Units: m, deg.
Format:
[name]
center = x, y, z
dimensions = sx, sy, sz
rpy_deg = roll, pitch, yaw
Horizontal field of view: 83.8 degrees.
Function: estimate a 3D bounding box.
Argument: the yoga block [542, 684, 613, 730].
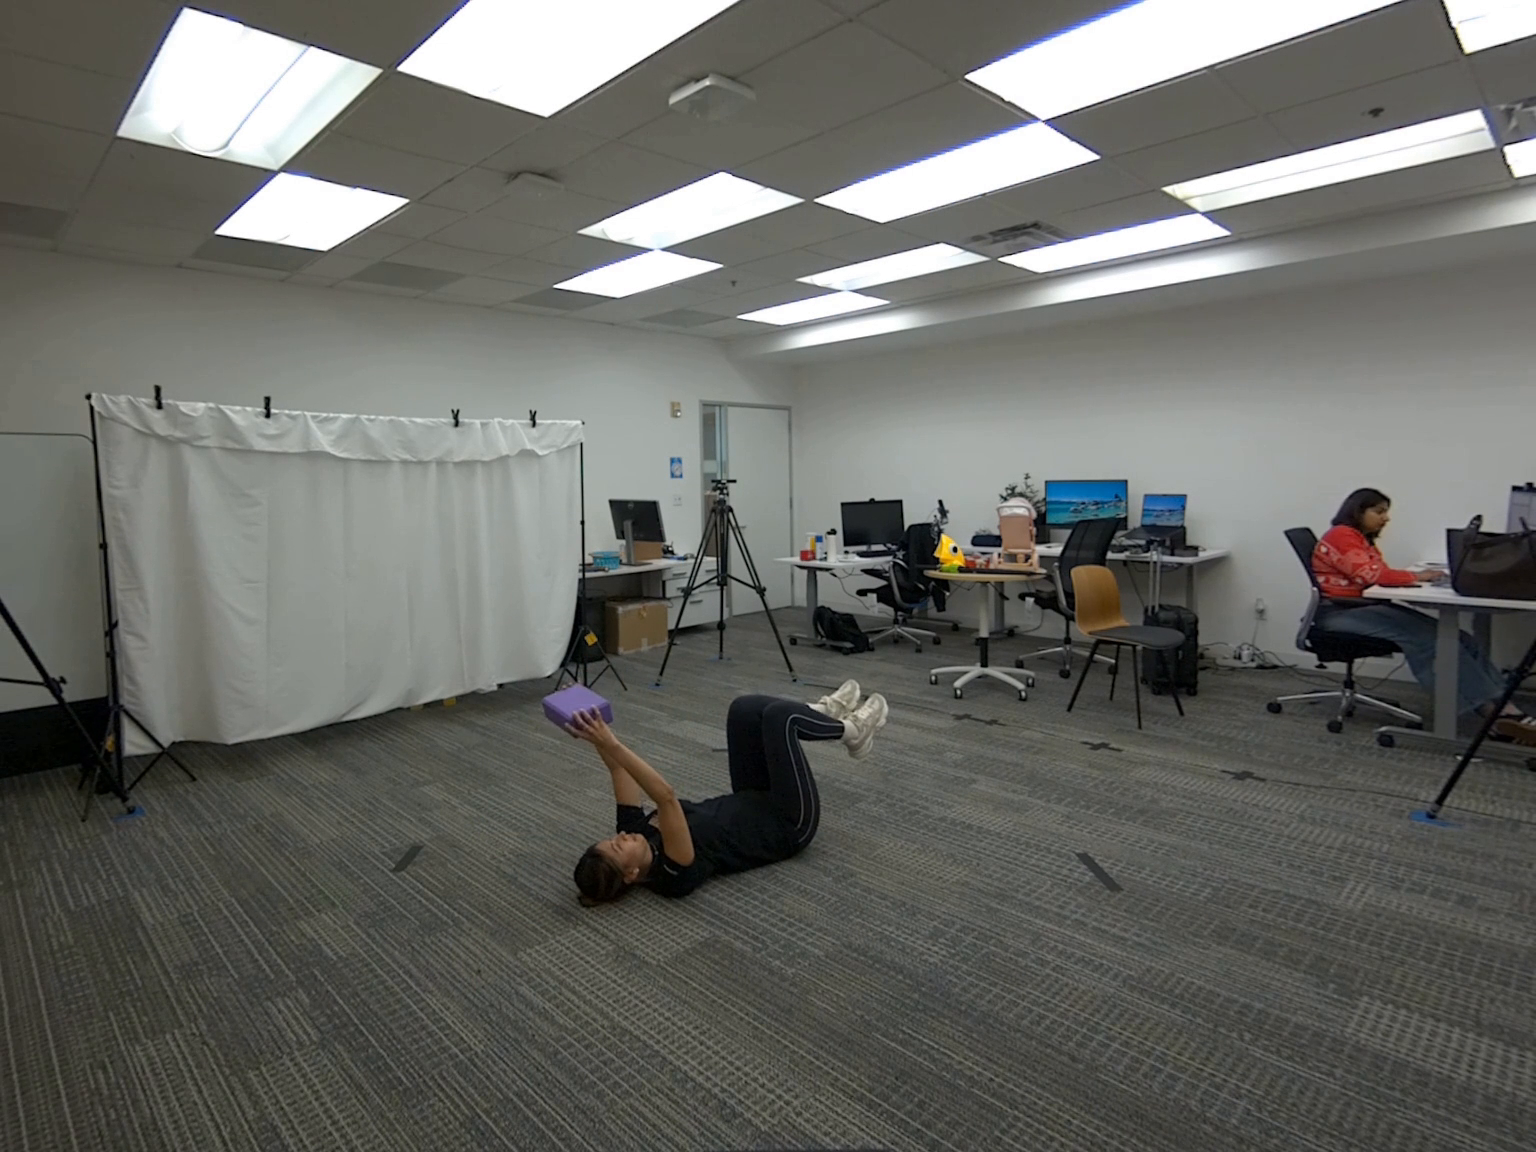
[yoga block]
center = -0.629, 0.443, 2.809
dimensions = 0.146, 0.075, 0.237
rpy_deg = -22, 22, -32
